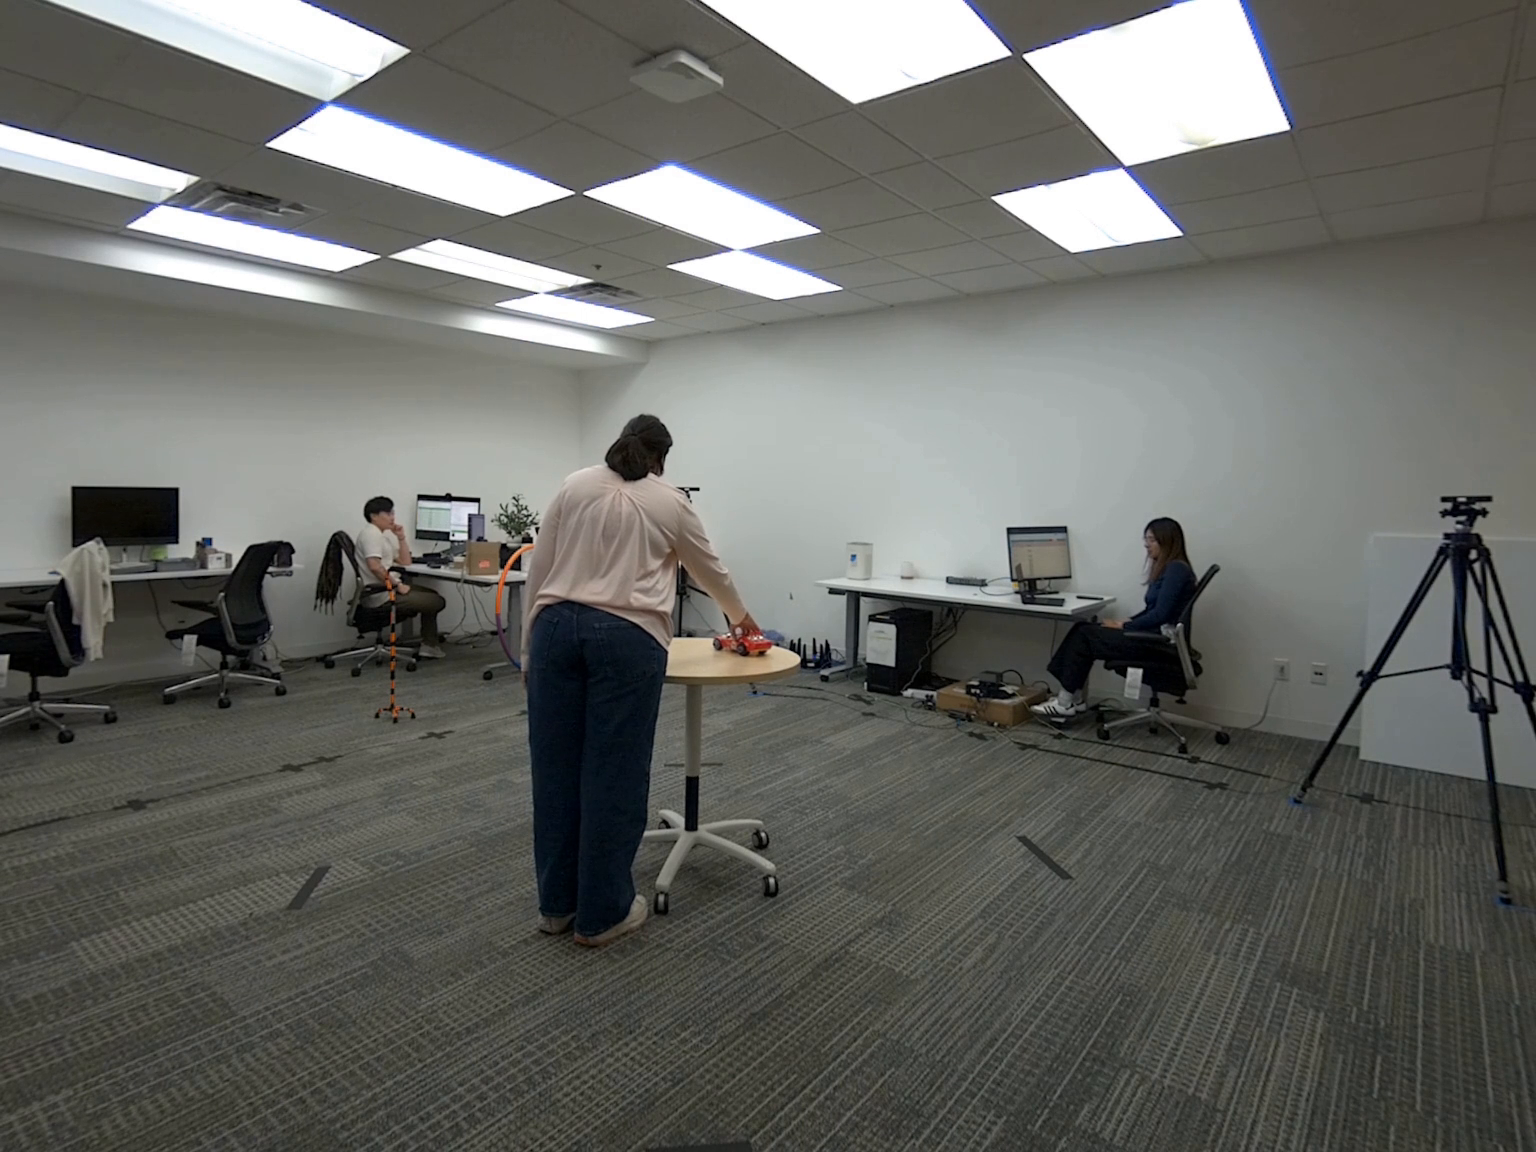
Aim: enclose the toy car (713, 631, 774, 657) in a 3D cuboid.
[{"bbox_3d":[-0.100,0.250,3.162,0.126,0.084,0.261,-2,-5,-41],"label":"toy car"}]
